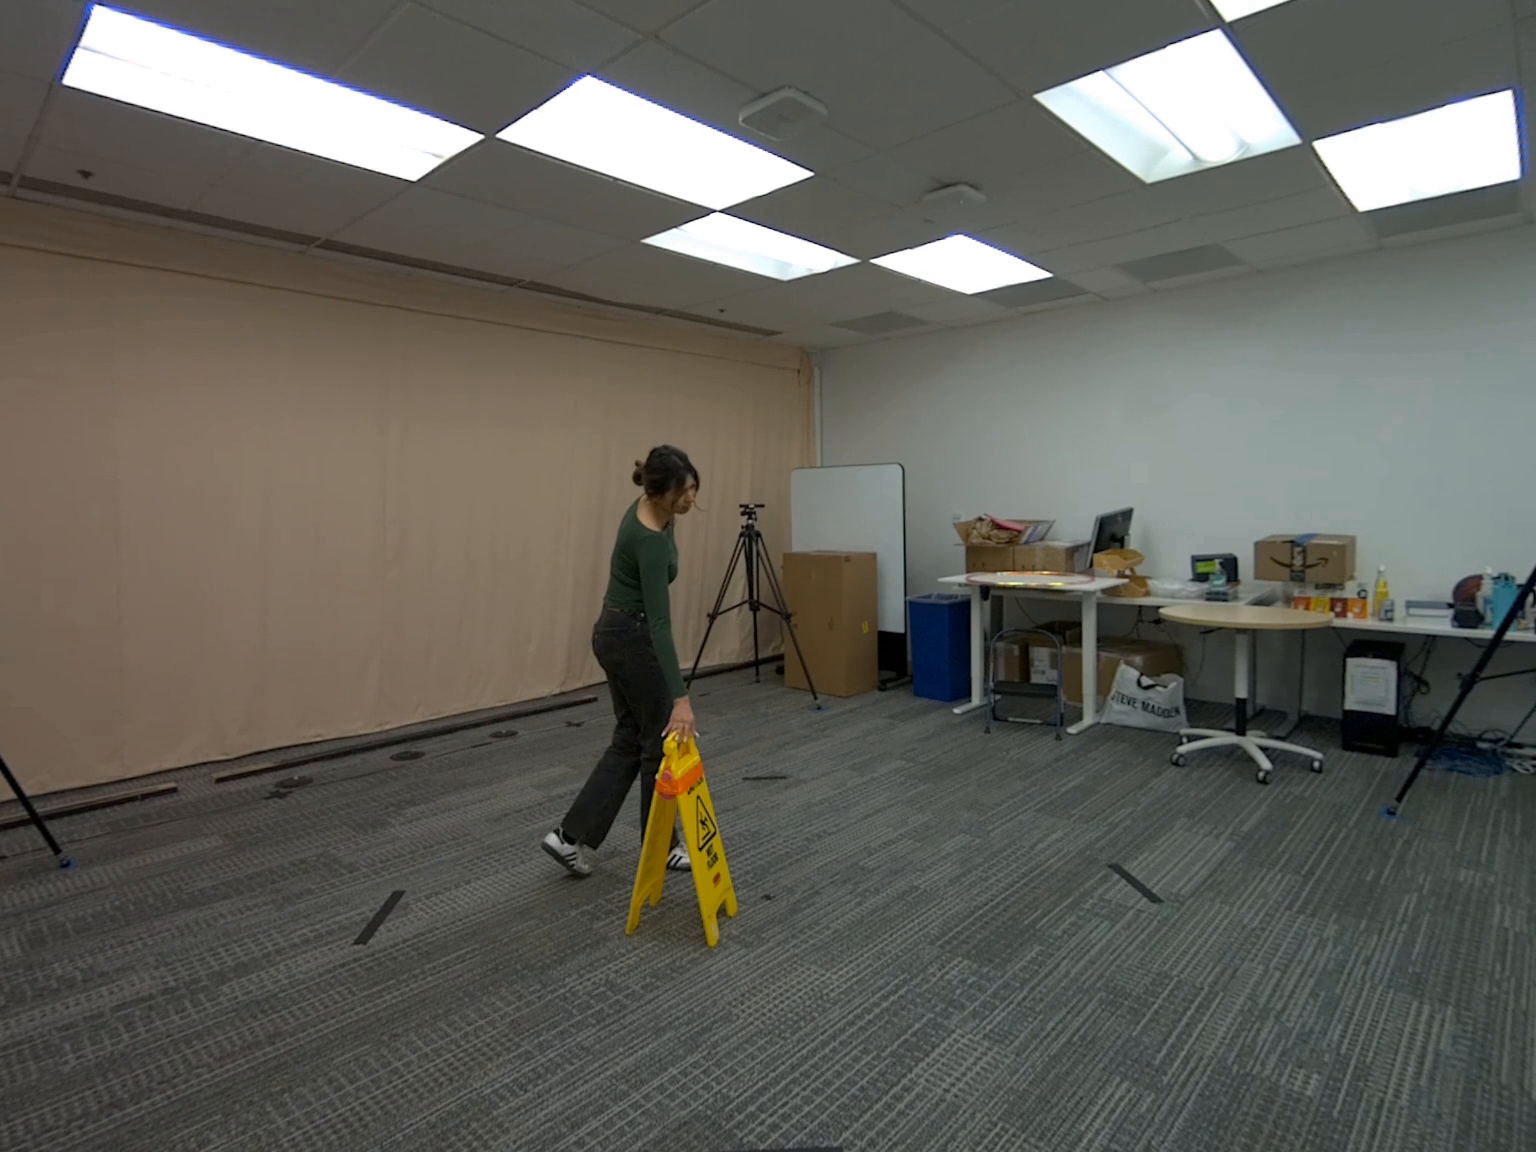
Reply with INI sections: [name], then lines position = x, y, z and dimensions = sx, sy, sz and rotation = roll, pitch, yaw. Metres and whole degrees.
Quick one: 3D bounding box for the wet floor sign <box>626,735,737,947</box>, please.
[wet floor sign]
position = -0.285, 0.838, 2.808
dimensions = 0.295, 0.643, 0.278
rotation = 1, 7, 17
